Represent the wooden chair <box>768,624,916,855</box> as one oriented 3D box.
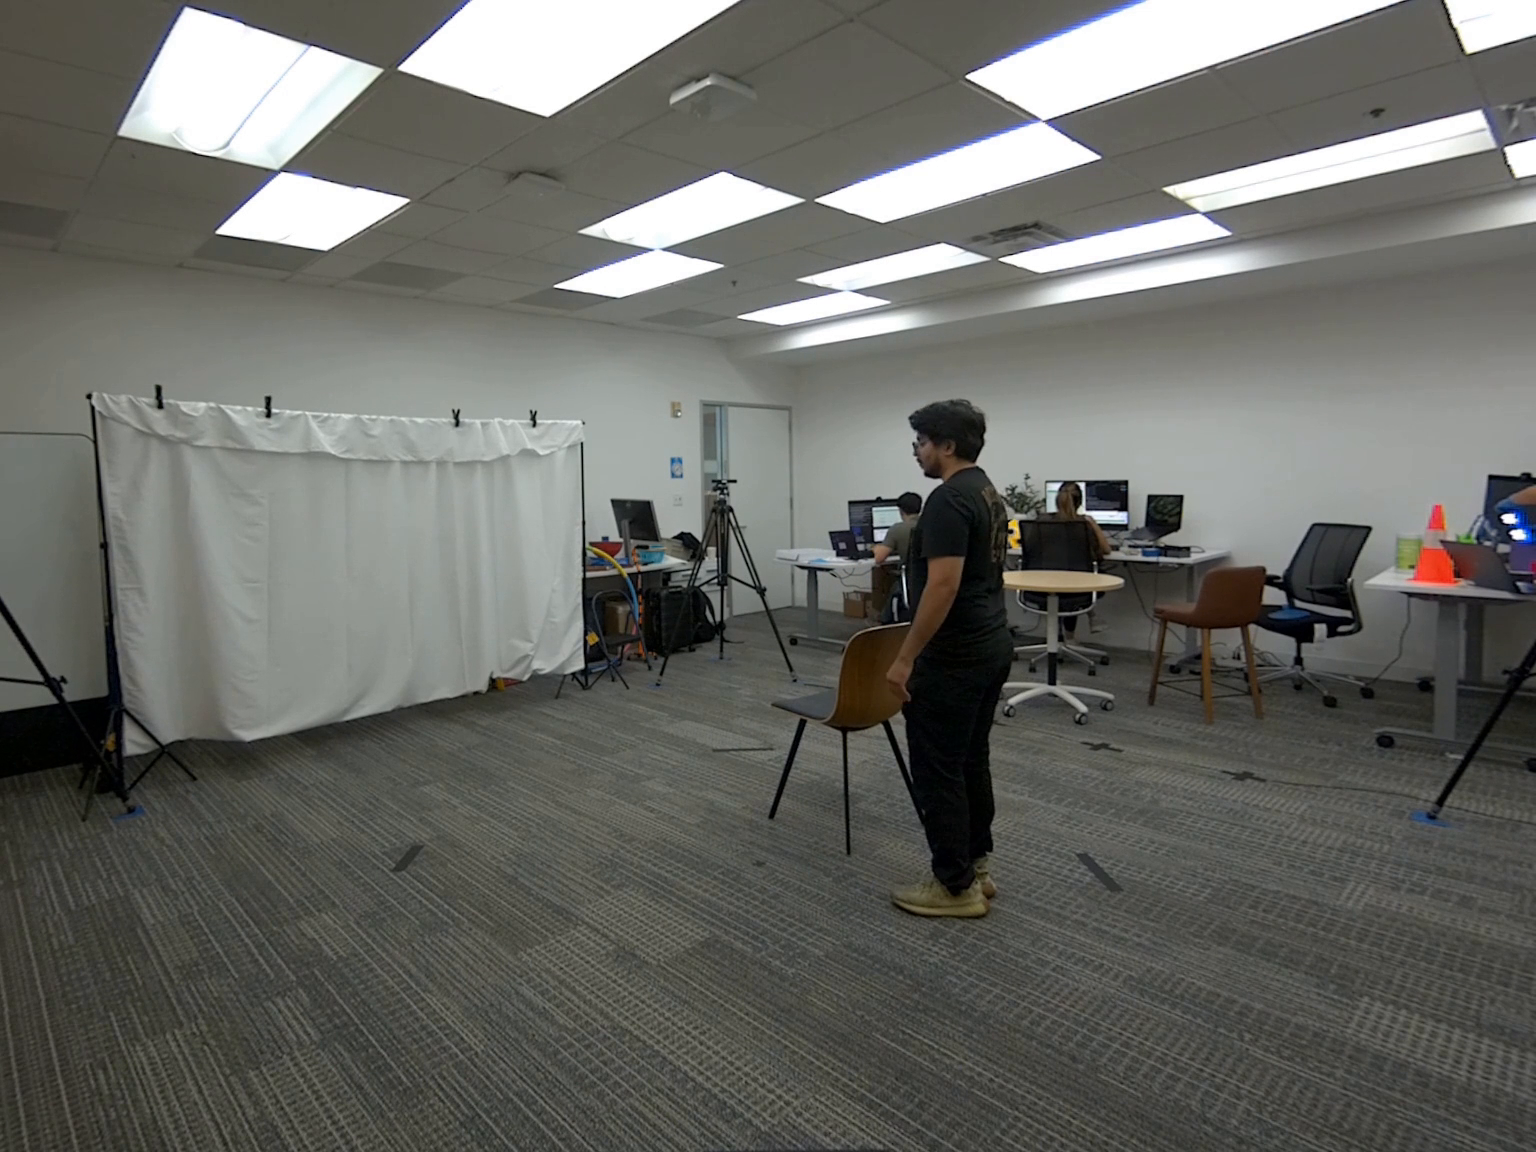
[{"bbox_3d":[0.309,0.575,3.452,0.465,0.871,0.540,-4,10,-39],"label":"wooden chair"}]
